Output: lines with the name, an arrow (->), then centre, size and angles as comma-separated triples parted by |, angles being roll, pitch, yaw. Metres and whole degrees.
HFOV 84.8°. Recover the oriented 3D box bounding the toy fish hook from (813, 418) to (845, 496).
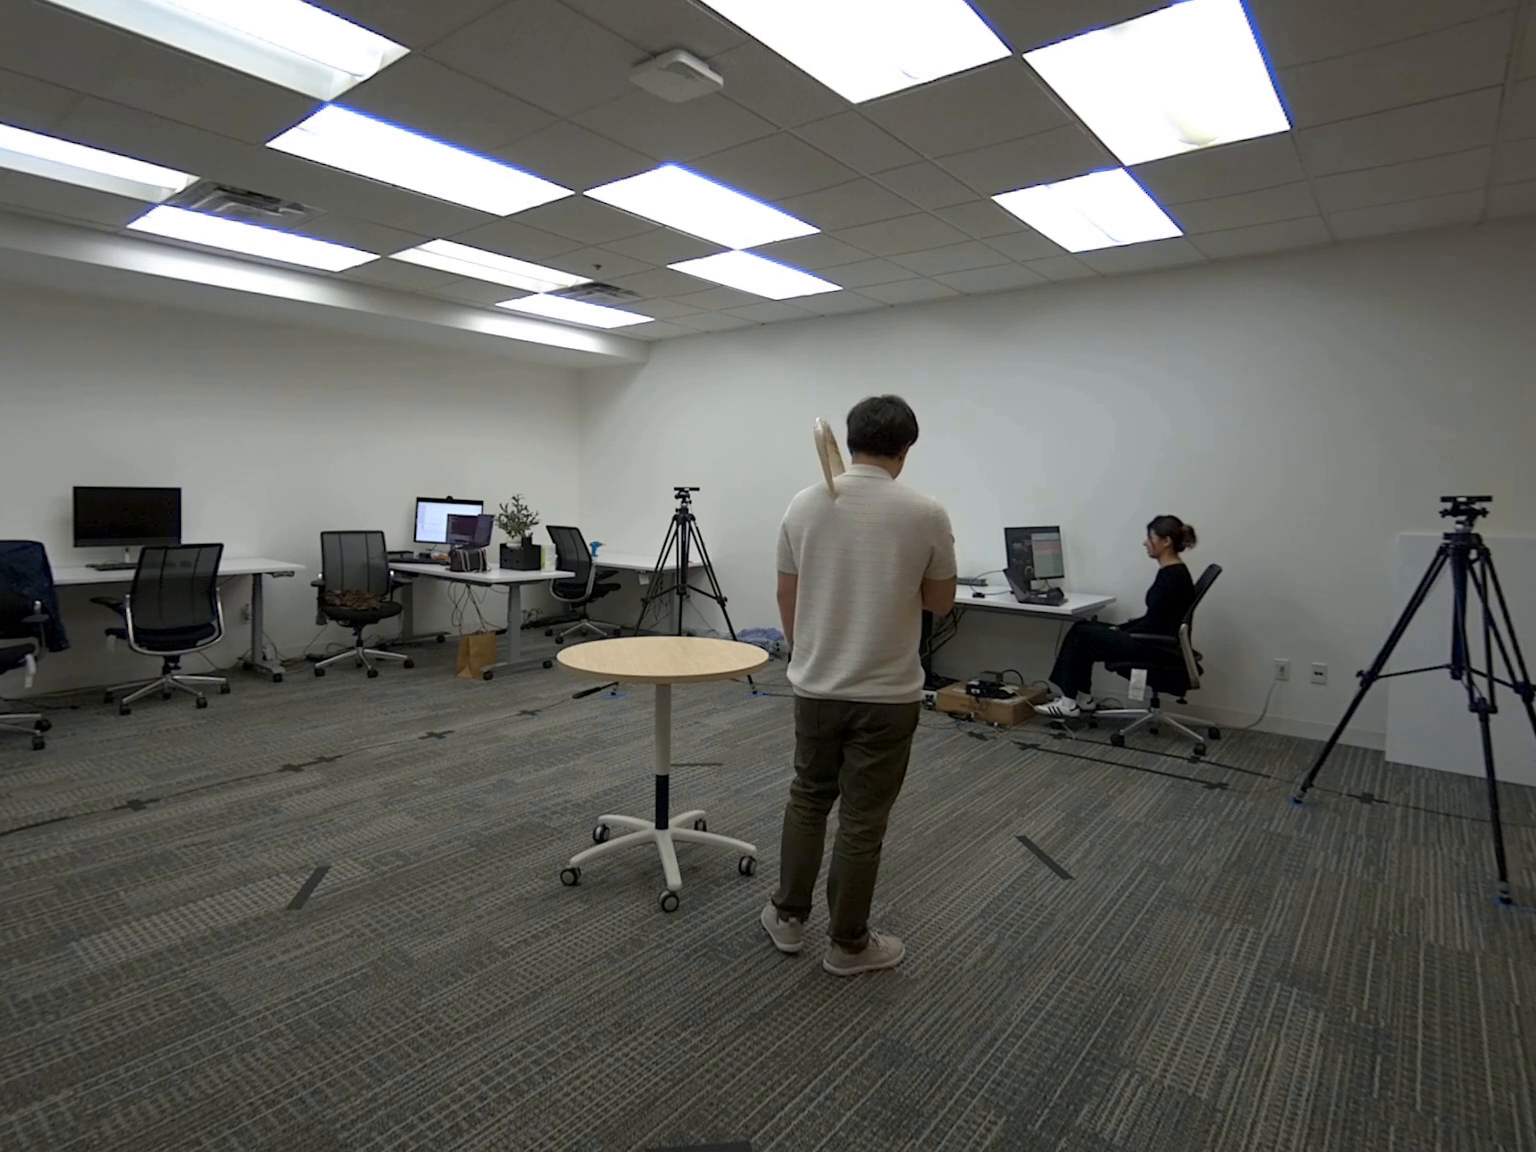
toy fish hook -> 0.209, -0.224, 2.481 | 0.049, 0.492, 0.227 | -12, 28, 21
